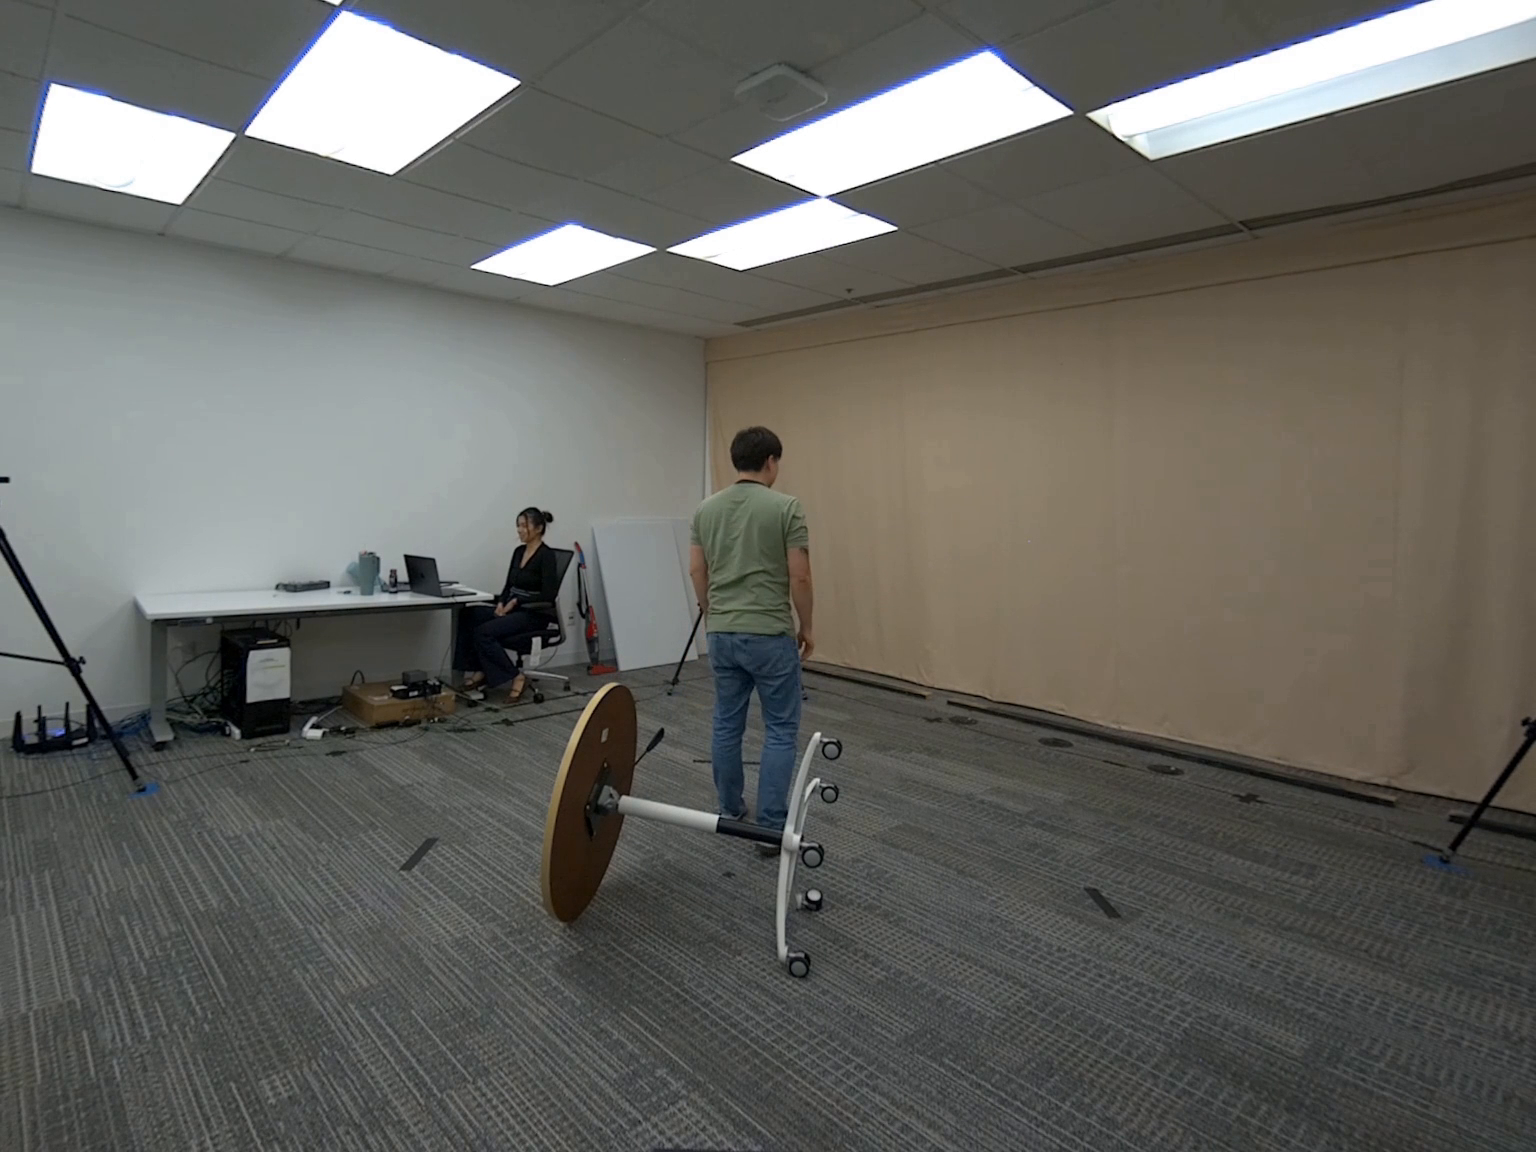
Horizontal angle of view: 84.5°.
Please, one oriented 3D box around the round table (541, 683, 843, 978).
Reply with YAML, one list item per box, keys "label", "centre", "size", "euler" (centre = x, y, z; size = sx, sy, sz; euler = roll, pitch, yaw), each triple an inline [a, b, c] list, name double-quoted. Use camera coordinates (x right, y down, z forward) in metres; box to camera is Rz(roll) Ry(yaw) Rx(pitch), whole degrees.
- label: "round table"
  centre: [-0.200, 0.802, 2.725]
  size: [0.801, 0.761, 0.760]
  euler: [9, 5, 9]
